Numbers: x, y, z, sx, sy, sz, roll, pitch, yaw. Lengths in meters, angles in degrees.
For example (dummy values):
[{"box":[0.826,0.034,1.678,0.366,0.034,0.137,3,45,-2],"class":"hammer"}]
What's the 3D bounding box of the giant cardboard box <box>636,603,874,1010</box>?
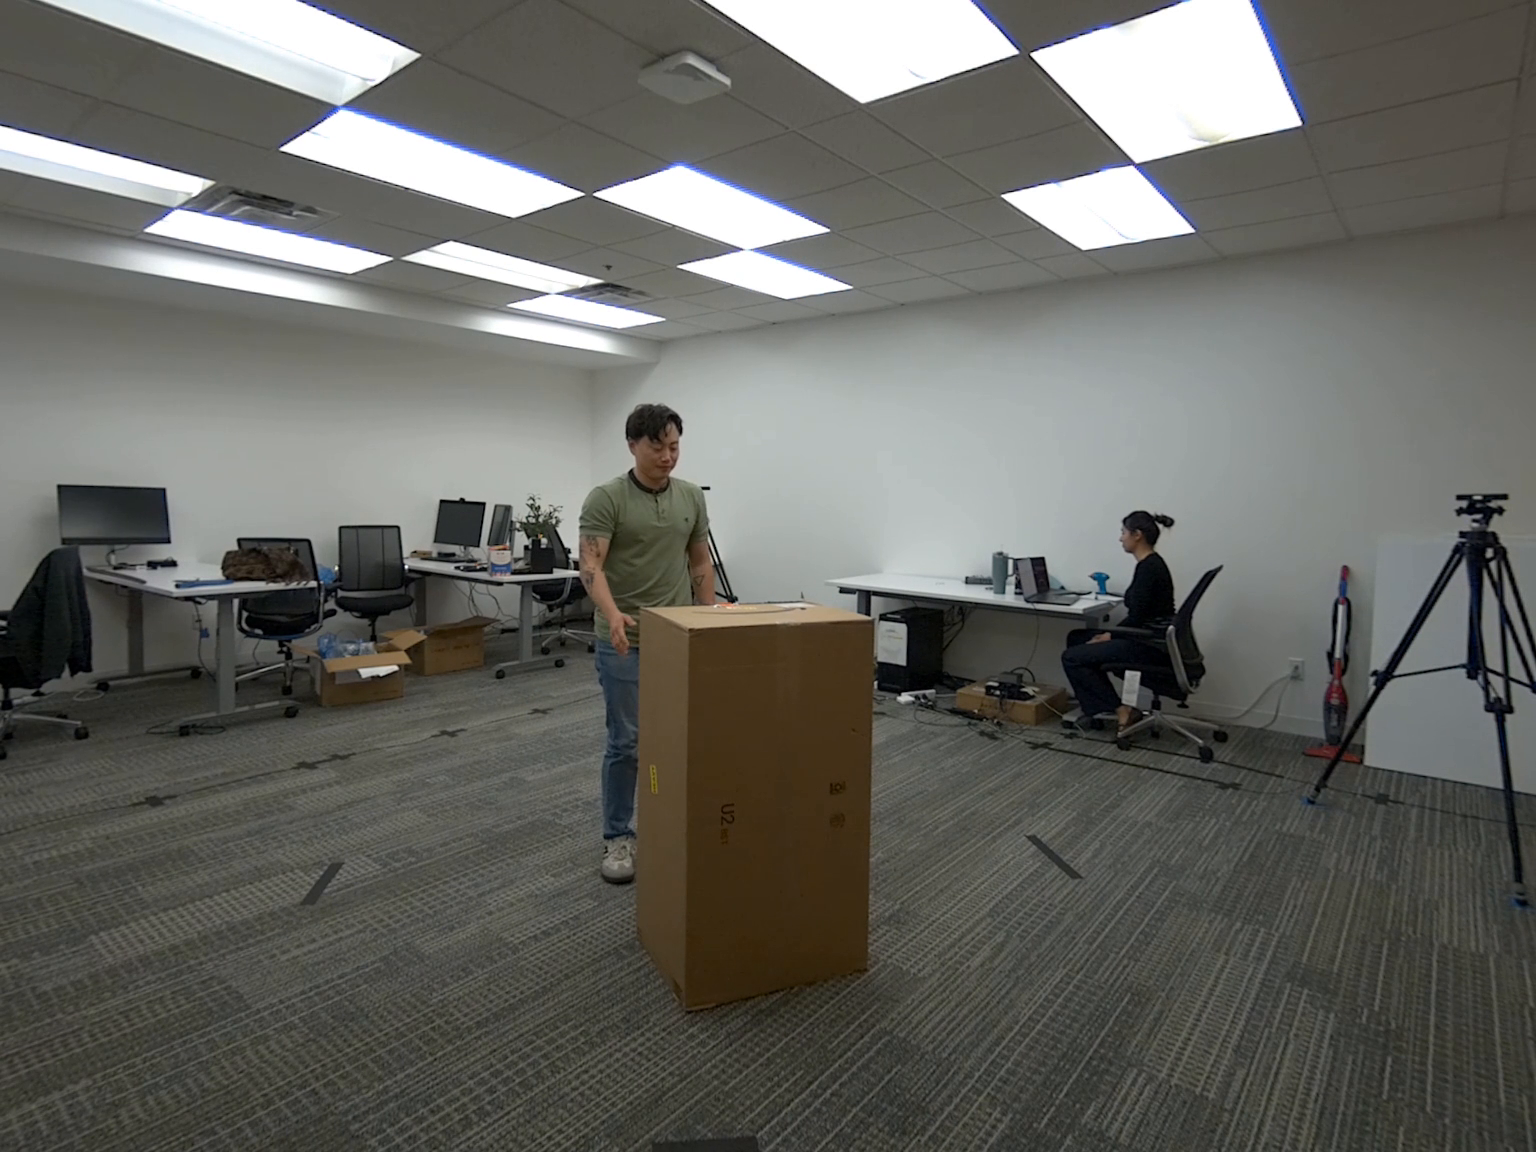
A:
[{"box":[-0.054,0.616,2.523,0.564,1.023,0.438,-1,4,-26],"class":"giant cardboard box"}]
